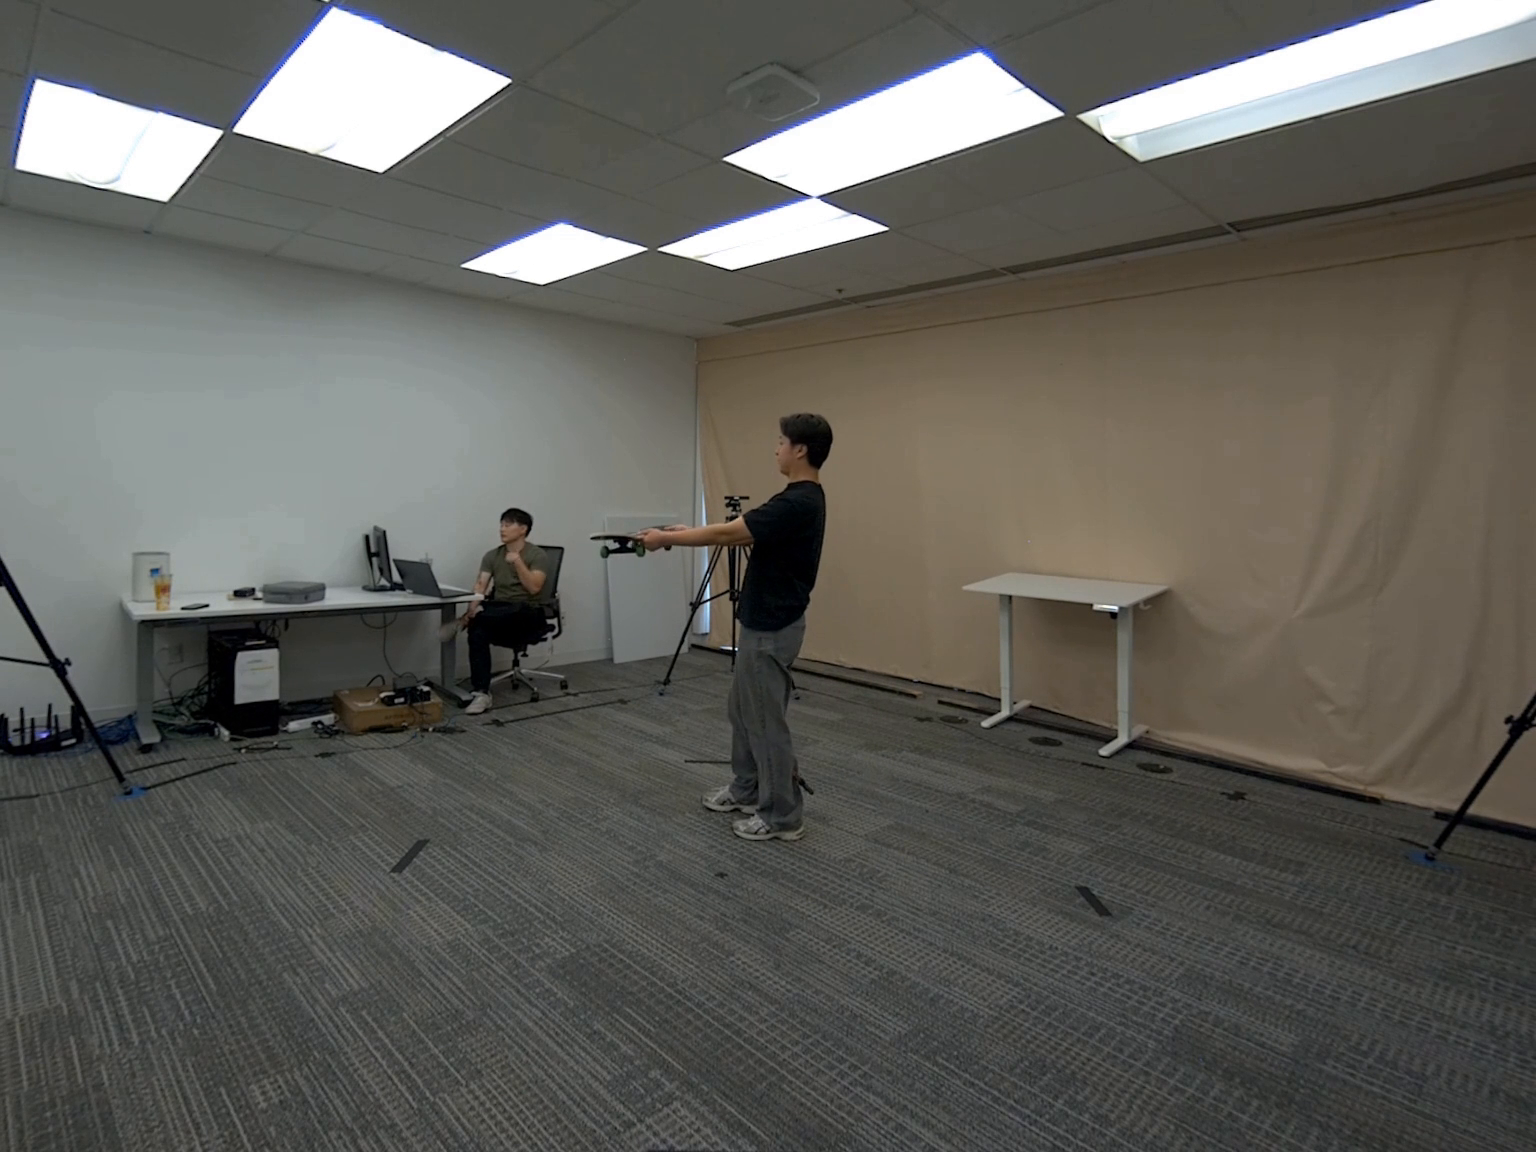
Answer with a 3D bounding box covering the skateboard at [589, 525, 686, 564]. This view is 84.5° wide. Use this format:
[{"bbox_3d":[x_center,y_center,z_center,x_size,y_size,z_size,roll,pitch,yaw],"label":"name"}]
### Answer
[{"bbox_3d":[-0.535,-0.145,3.599,0.195,0.110,0.782,-2,5,7],"label":"skateboard"}]
